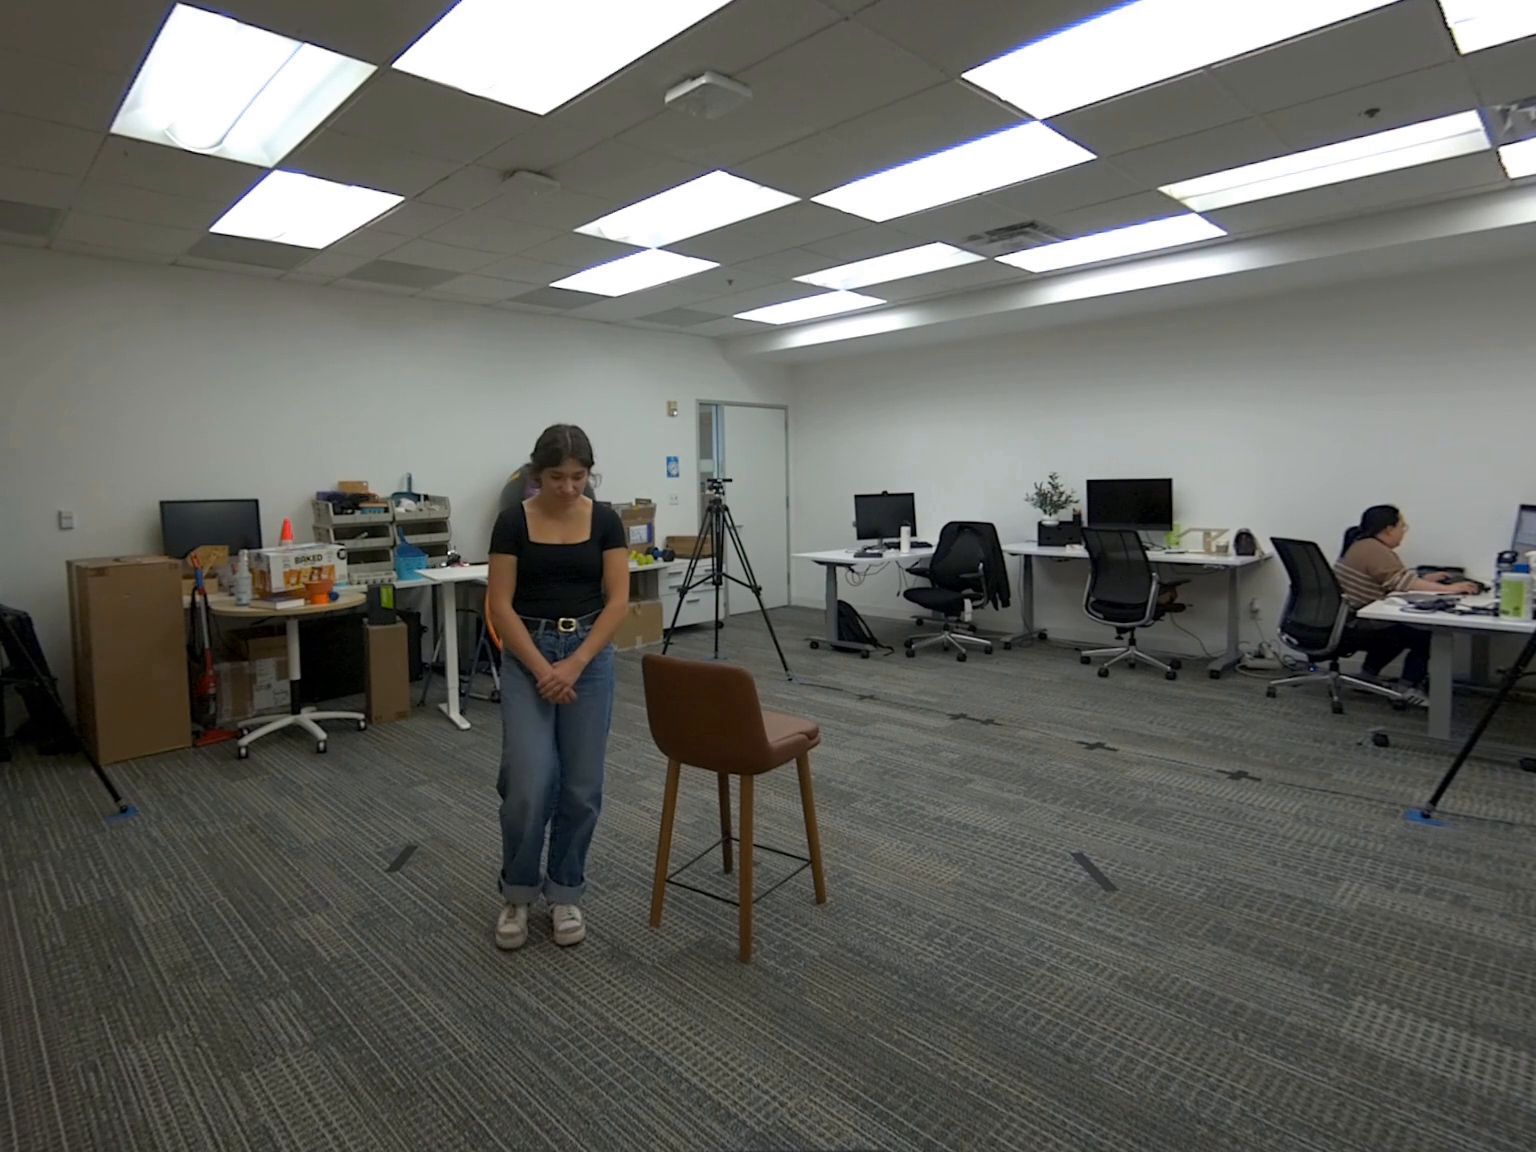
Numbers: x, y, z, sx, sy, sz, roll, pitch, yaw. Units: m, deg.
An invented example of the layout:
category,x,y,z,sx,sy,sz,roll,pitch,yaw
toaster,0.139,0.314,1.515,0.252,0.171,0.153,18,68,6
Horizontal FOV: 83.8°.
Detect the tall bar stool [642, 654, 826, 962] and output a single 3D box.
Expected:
category,x,y,z,sx,sy,sz,roll,pitch,yaw
tall bar stool,-0.108,0.655,2.726,0.469,0.885,0.457,2,7,35
